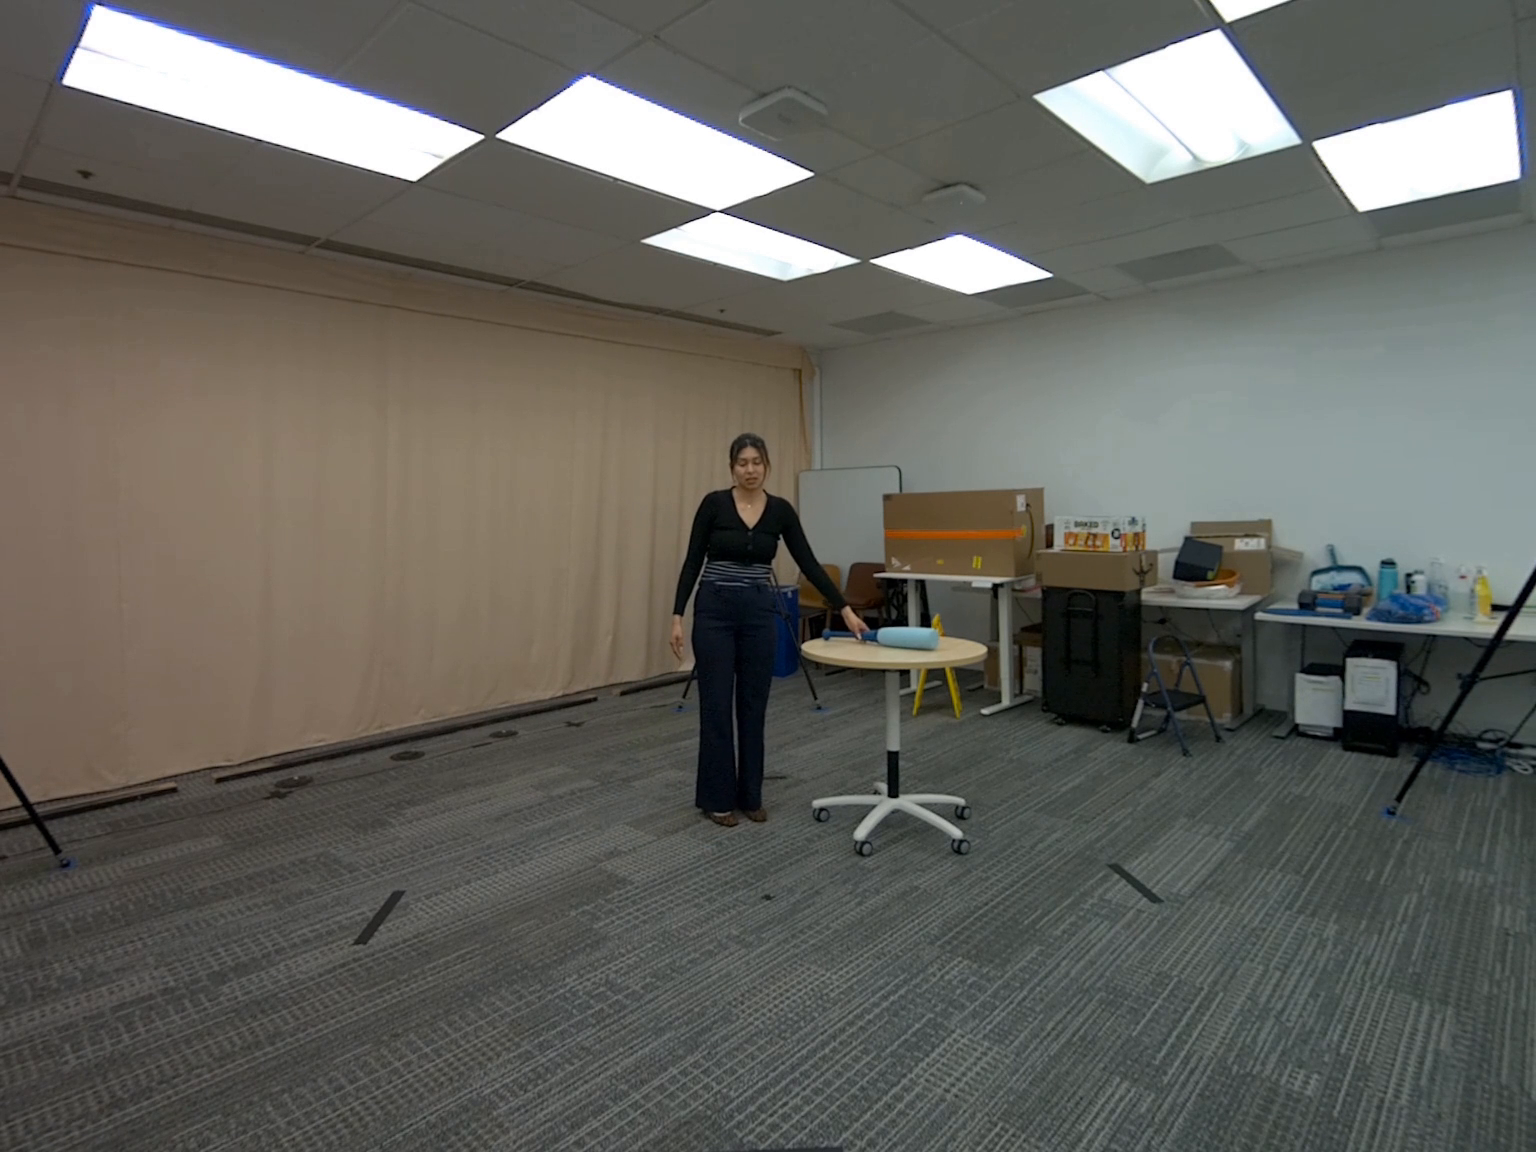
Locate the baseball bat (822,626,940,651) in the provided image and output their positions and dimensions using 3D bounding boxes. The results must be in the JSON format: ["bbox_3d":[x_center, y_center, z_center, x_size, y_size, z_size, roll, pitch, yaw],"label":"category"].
[{"bbox_3d":[0.467,0.261,3.602,0.560,0.089,0.086,-1,3,40],"label":"baseball bat"}]
